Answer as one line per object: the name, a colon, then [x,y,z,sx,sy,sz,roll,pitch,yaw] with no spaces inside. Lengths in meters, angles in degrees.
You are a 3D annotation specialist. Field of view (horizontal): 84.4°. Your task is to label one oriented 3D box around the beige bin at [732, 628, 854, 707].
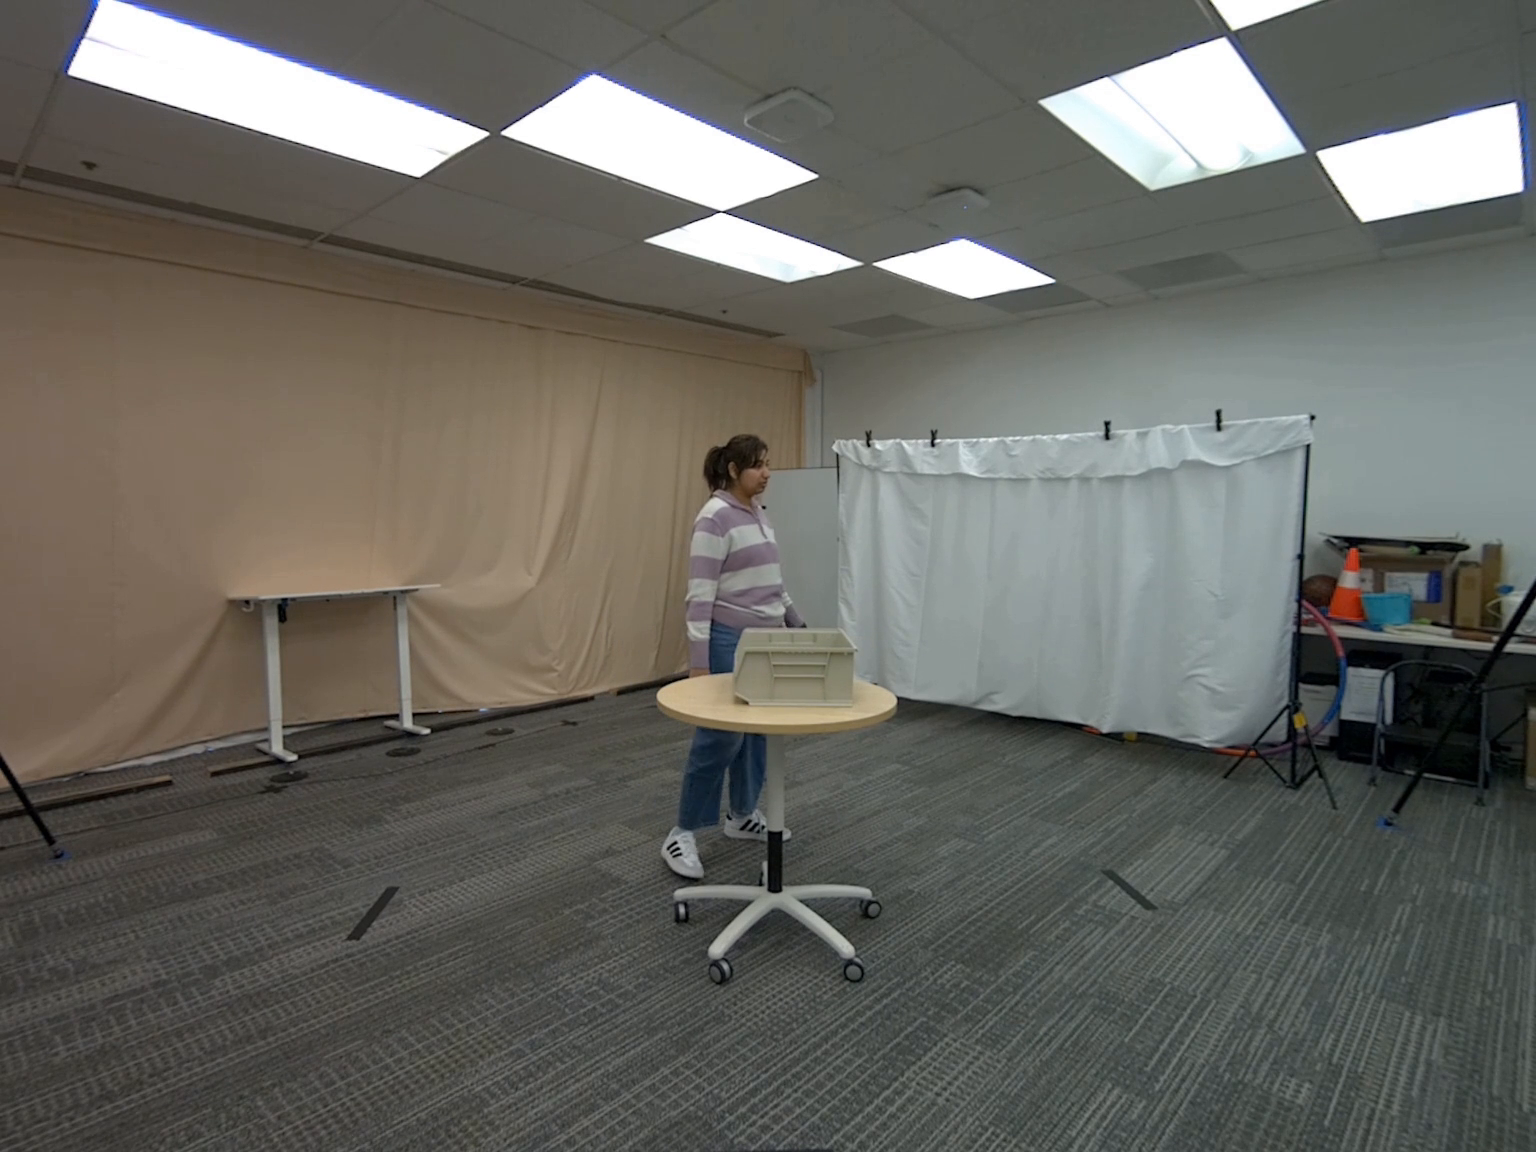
beige bin: [0.073,0.292,2.743,0.378,0.188,0.422,1,4,1]
